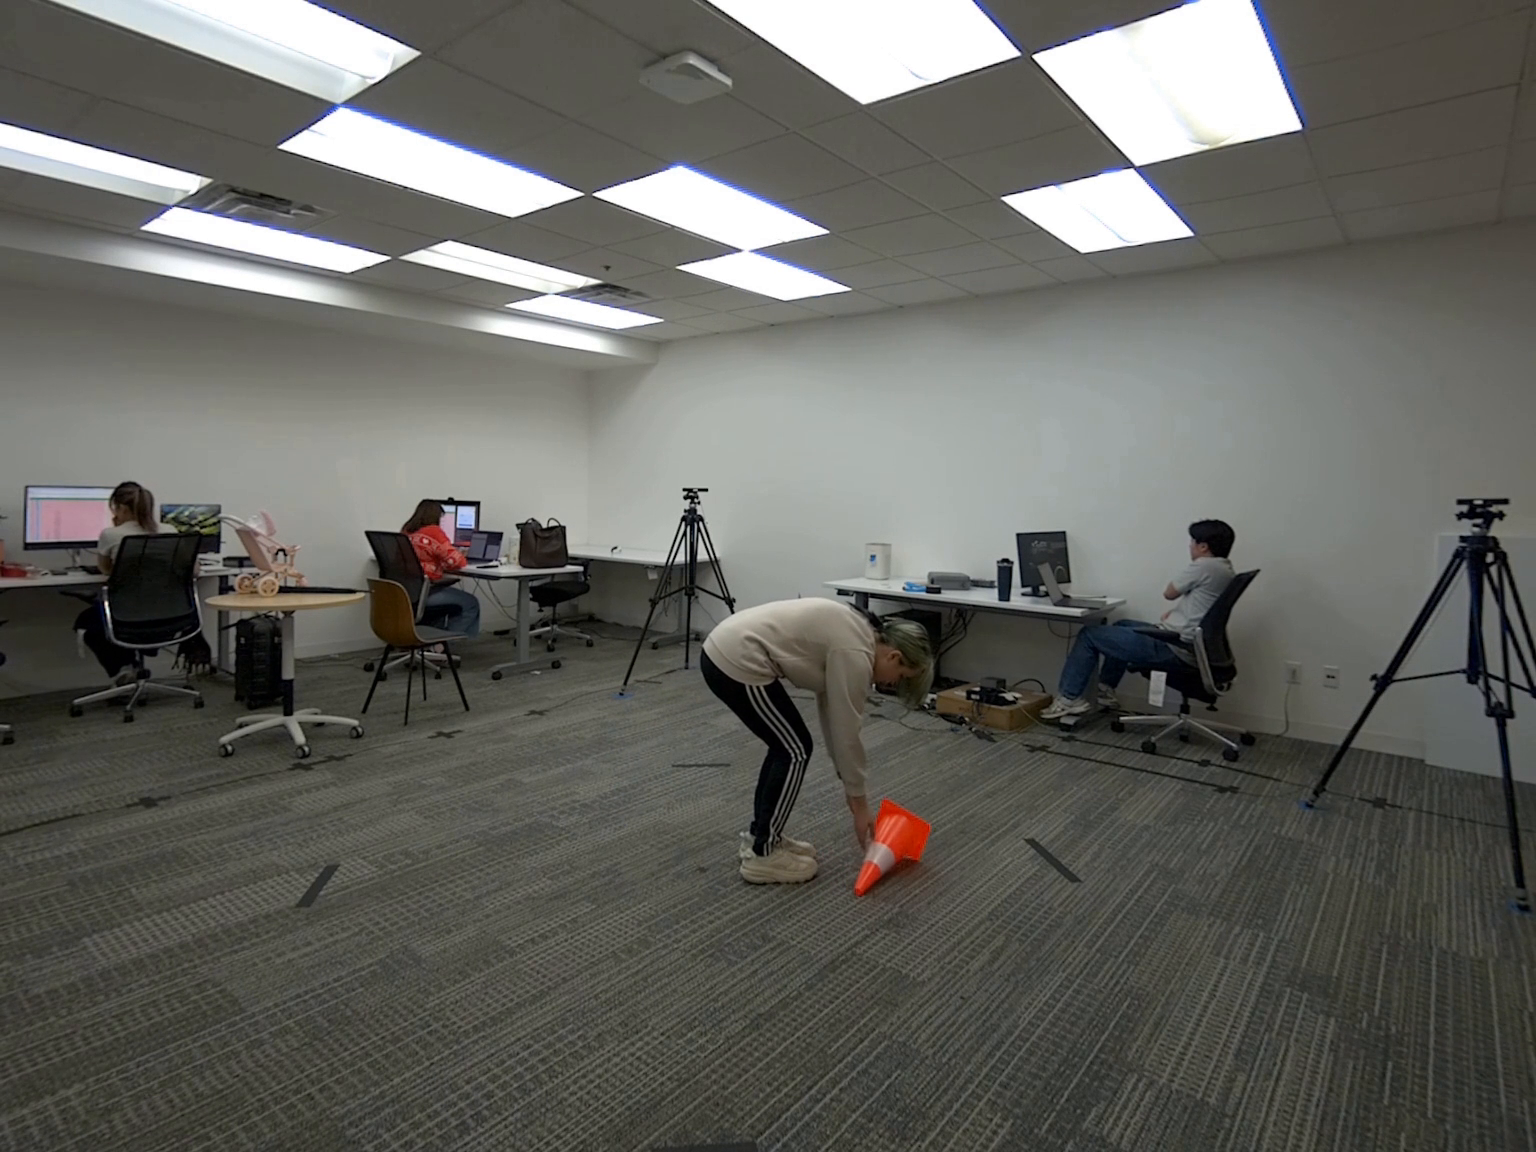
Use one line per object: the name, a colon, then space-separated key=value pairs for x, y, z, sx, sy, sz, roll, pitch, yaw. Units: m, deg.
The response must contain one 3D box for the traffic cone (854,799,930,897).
traffic cone: x=0.388 y=1.027 z=3.084 sx=0.212 sy=0.199 sz=0.378 roll=25 pitch=31 yaw=25
